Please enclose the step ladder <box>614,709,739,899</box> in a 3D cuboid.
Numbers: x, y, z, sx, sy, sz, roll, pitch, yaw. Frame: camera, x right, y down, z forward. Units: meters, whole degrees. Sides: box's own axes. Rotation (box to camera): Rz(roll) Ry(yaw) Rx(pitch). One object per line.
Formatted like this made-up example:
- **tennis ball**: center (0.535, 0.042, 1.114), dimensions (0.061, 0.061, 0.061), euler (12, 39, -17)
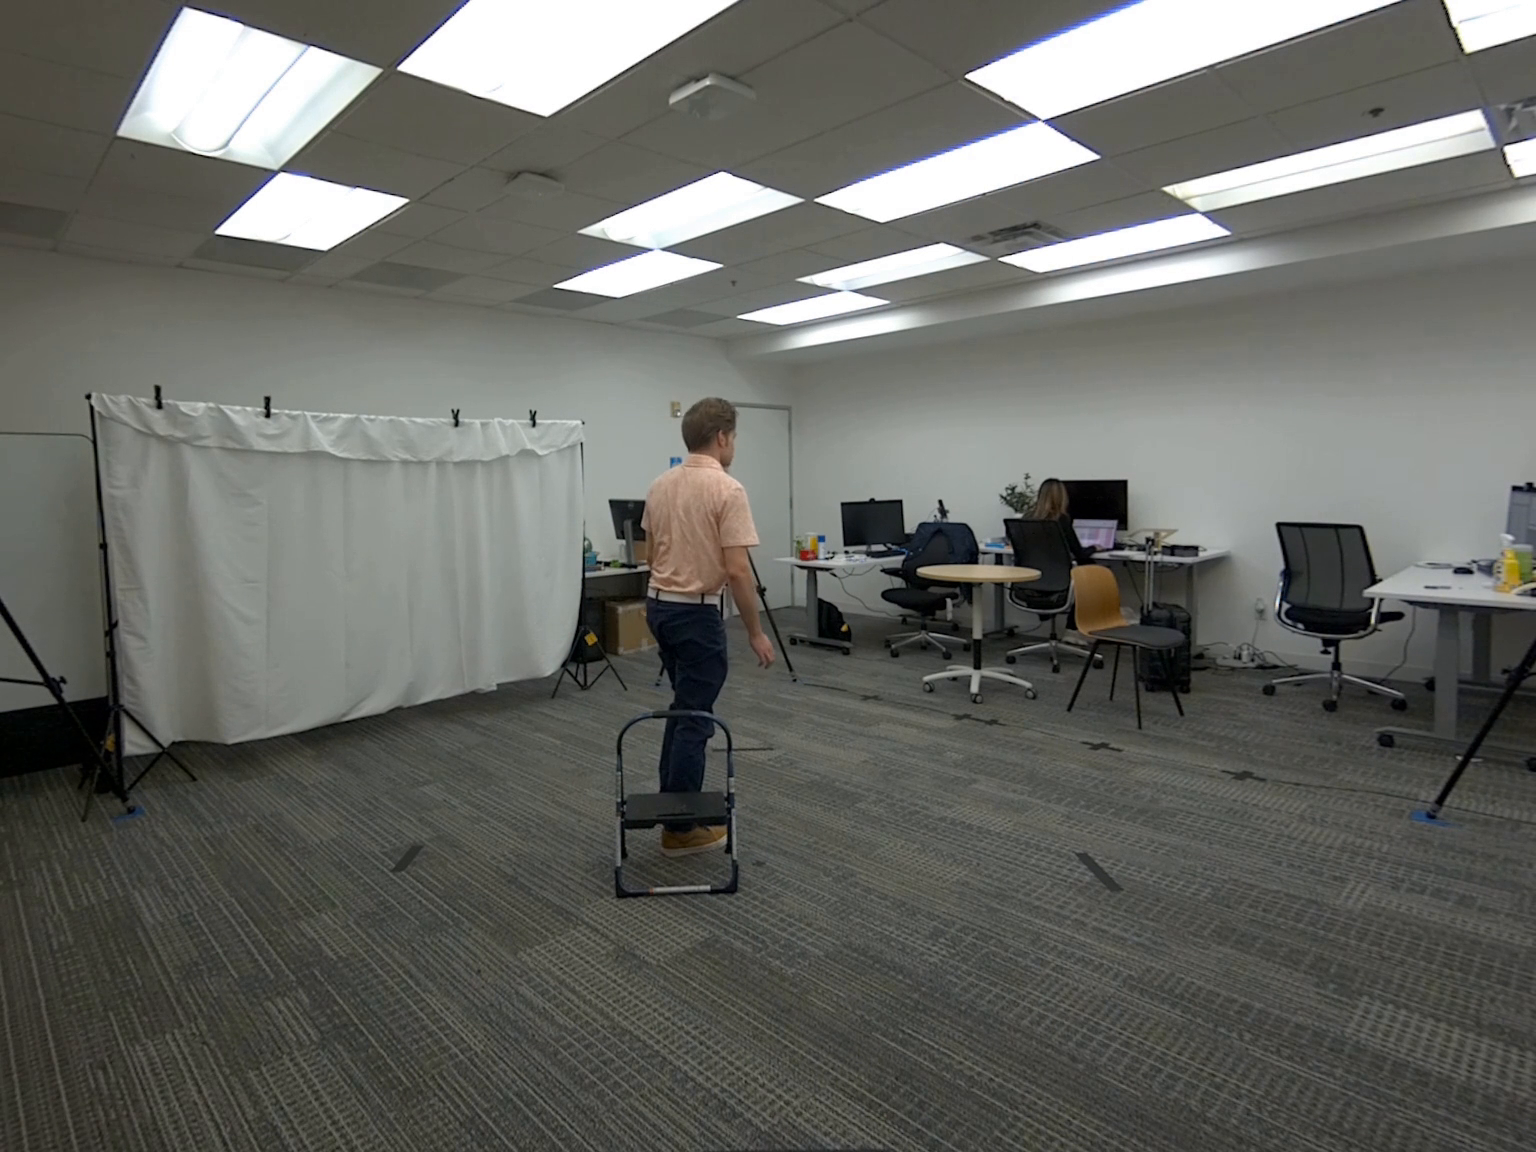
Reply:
- **step ladder**: center (-0.333, 0.764, 3.026), dimensions (0.428, 0.604, 0.352), euler (-2, 4, -6)
